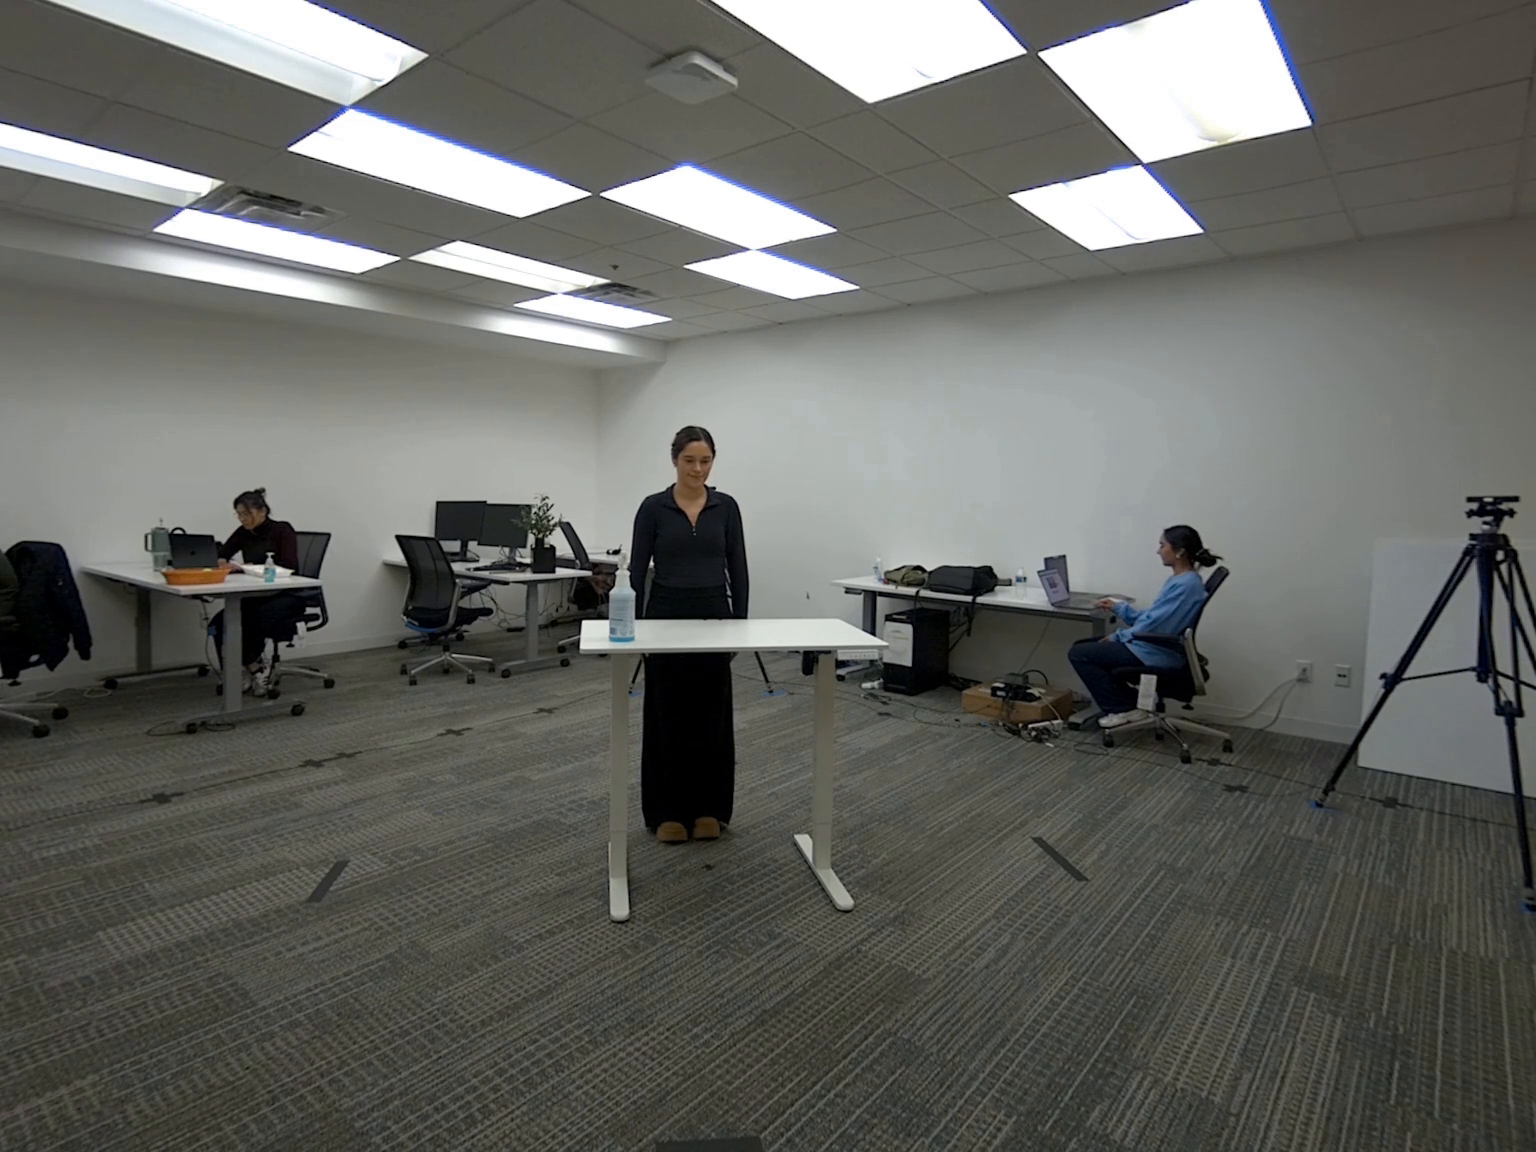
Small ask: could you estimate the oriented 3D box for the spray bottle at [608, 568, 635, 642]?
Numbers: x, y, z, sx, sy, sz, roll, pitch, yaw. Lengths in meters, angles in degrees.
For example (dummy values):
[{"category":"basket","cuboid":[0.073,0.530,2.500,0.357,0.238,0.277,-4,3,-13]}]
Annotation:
[{"category":"spray bottle","cuboid":[-0.503,0.066,2.797,0.088,0.296,0.089,2,5,10]}]
